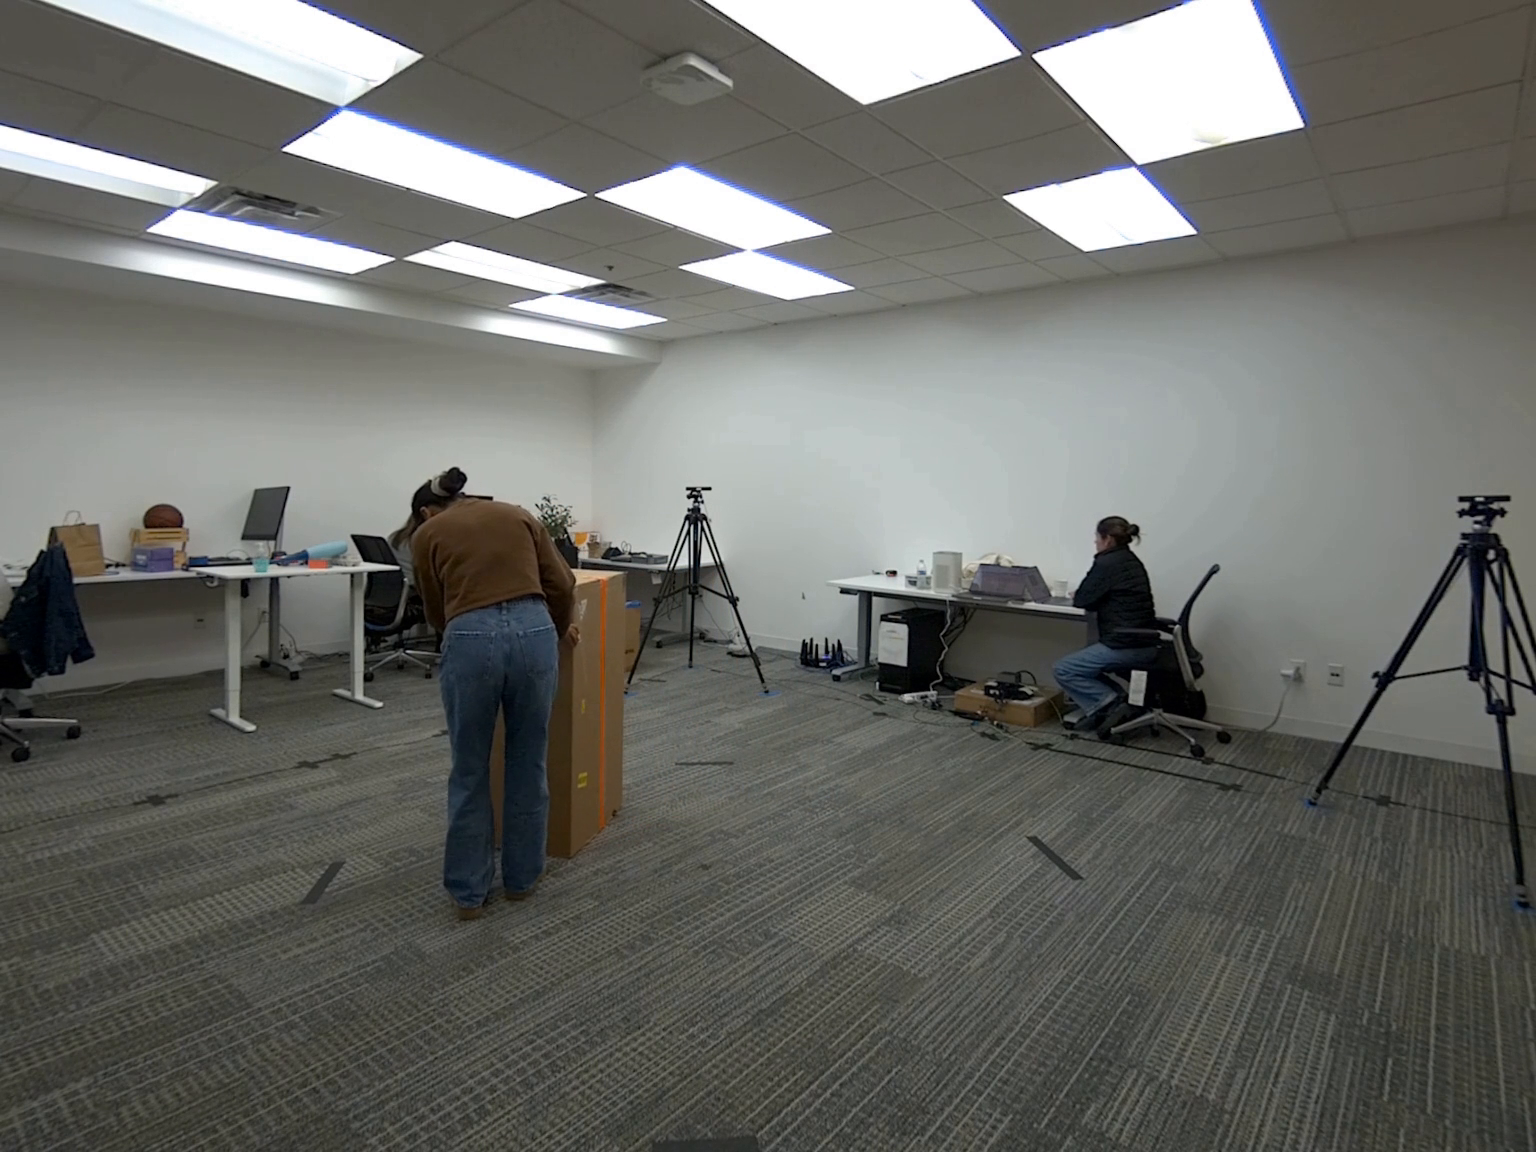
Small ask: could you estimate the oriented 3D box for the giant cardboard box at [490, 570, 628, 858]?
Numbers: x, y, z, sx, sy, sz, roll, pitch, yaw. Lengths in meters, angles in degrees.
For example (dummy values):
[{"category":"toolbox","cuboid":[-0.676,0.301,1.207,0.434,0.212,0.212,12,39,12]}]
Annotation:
[{"category":"giant cardboard box","cuboid":[-0.888,0.511,3.471,0.432,1.023,0.571,2,3,12]}]
